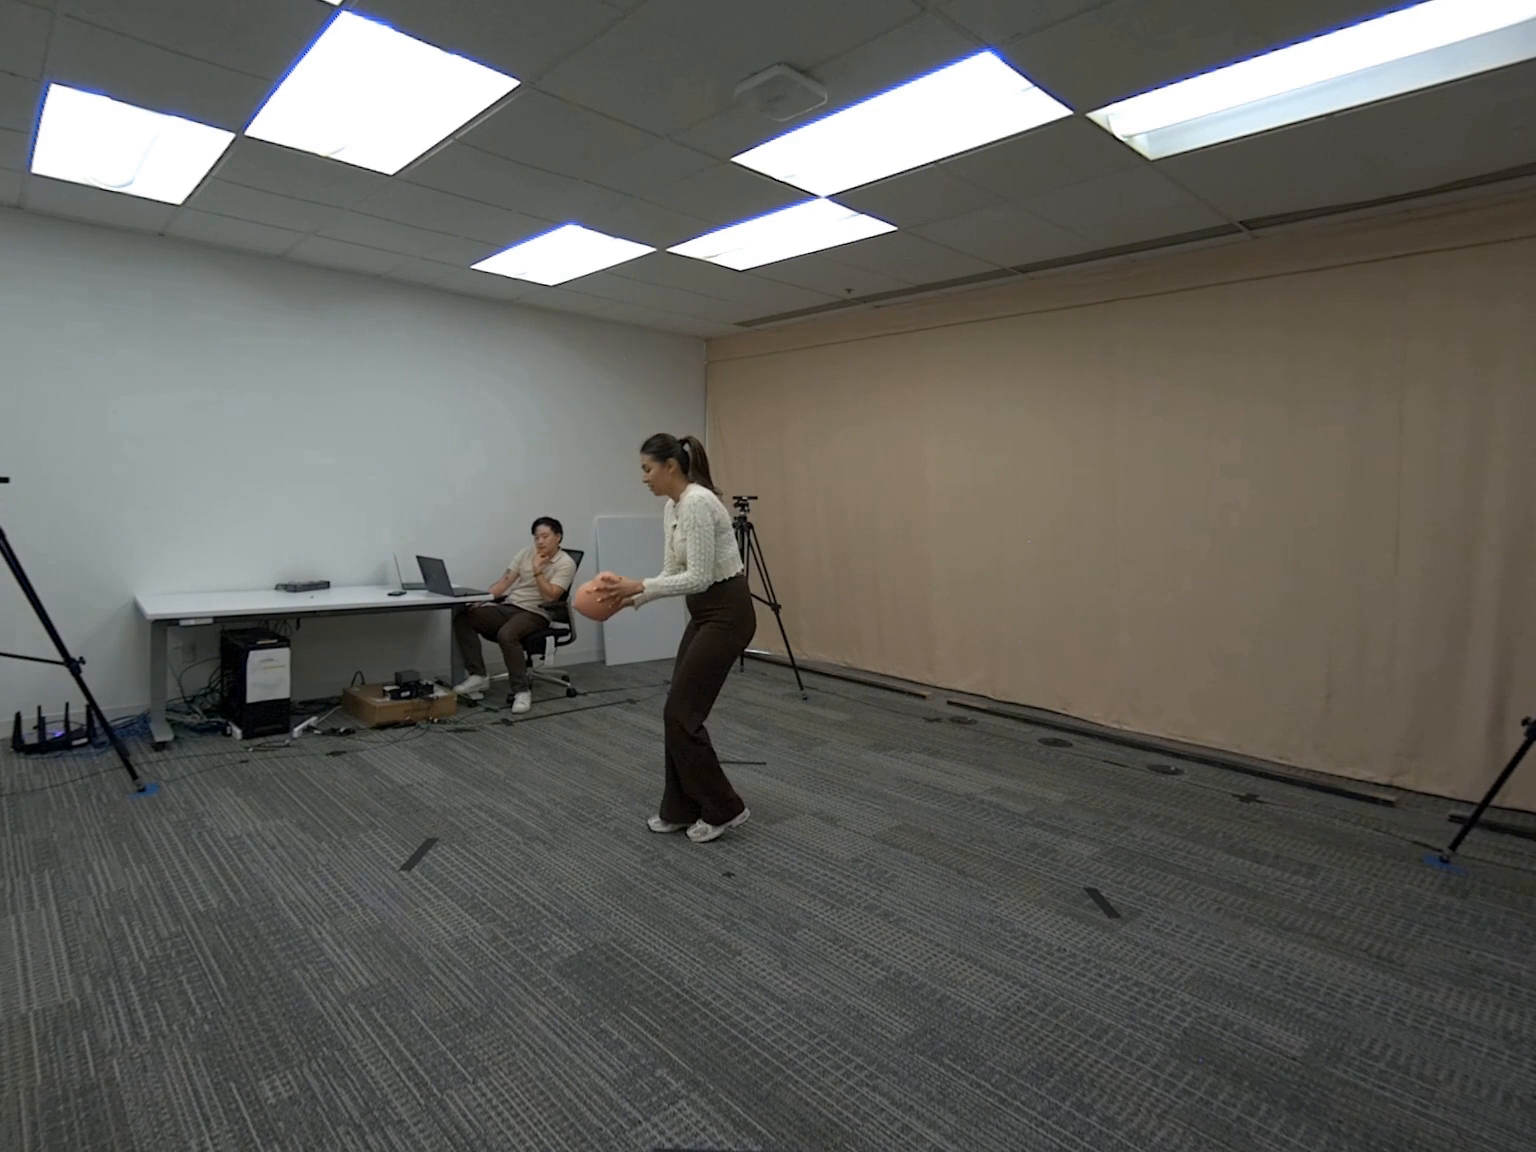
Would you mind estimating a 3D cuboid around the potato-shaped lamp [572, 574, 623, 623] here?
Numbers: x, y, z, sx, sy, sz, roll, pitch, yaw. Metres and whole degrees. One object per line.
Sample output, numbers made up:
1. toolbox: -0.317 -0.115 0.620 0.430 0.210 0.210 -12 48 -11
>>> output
1. potato-shaped lamp: -0.666 0.081 3.354 0.170 0.198 0.166 34 17 -9
